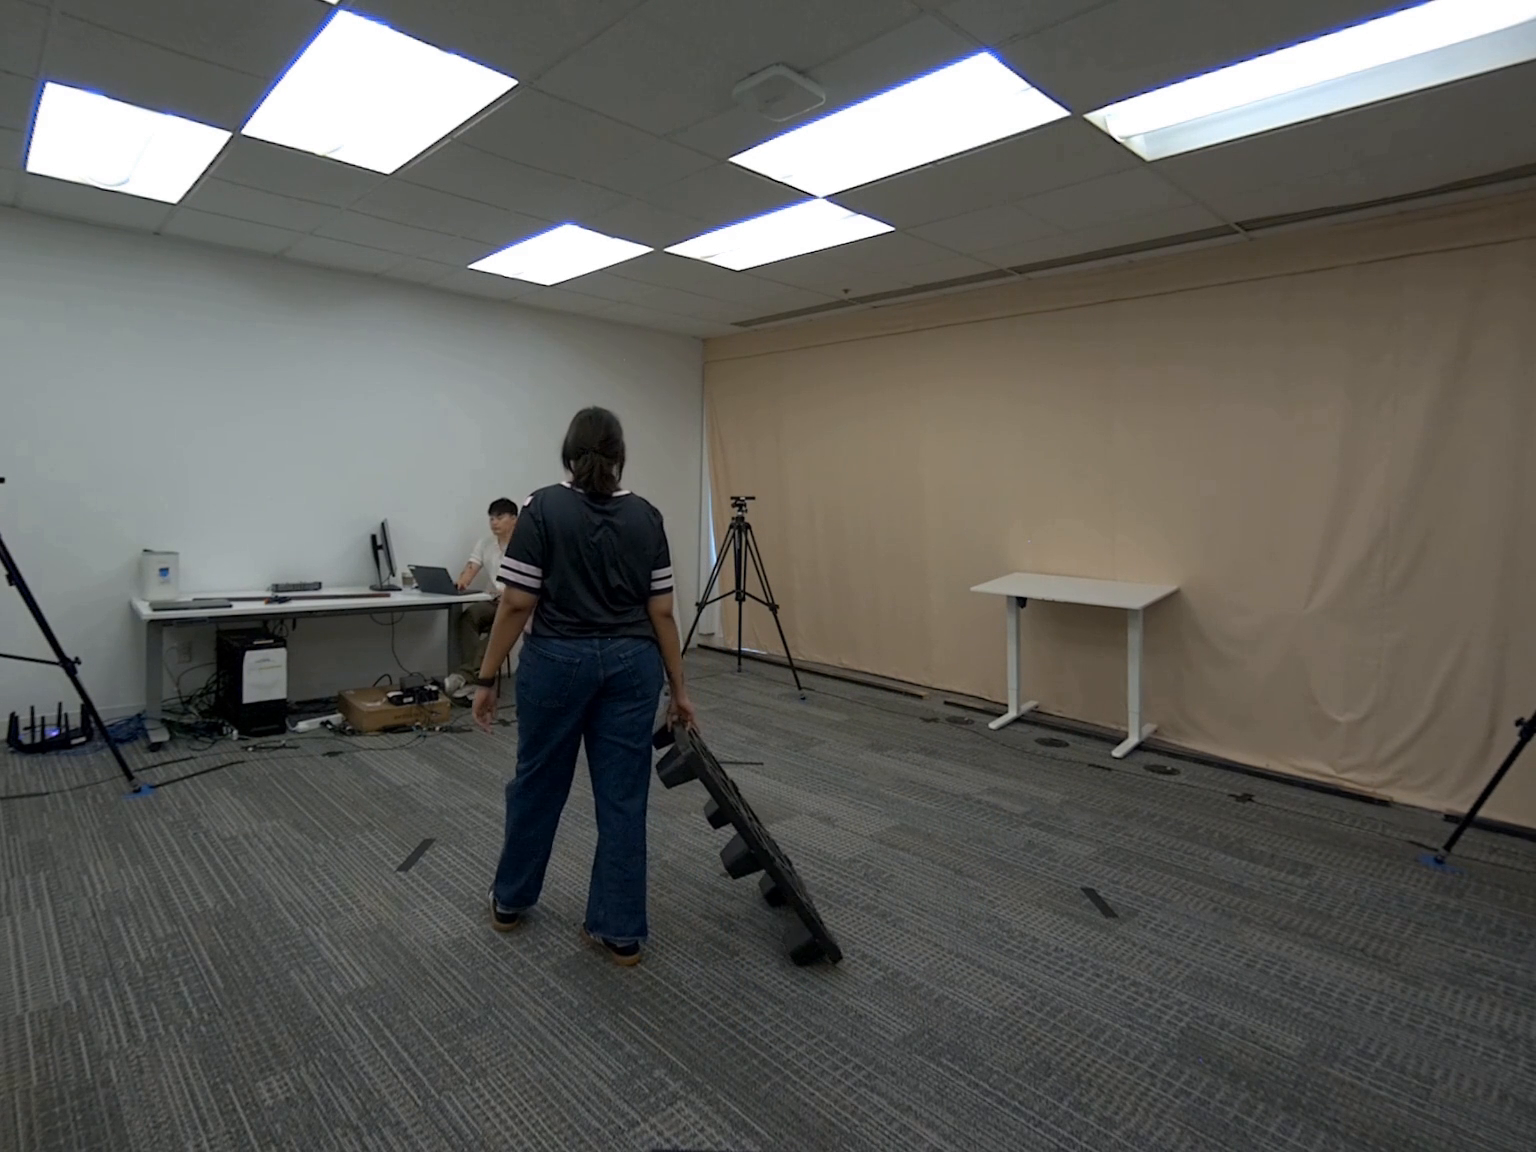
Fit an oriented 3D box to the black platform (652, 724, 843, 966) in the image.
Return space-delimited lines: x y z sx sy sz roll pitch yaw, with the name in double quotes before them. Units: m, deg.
"black platform" -0.112 0.808 2.688 0.143 0.799 0.611 -34 8 -6
